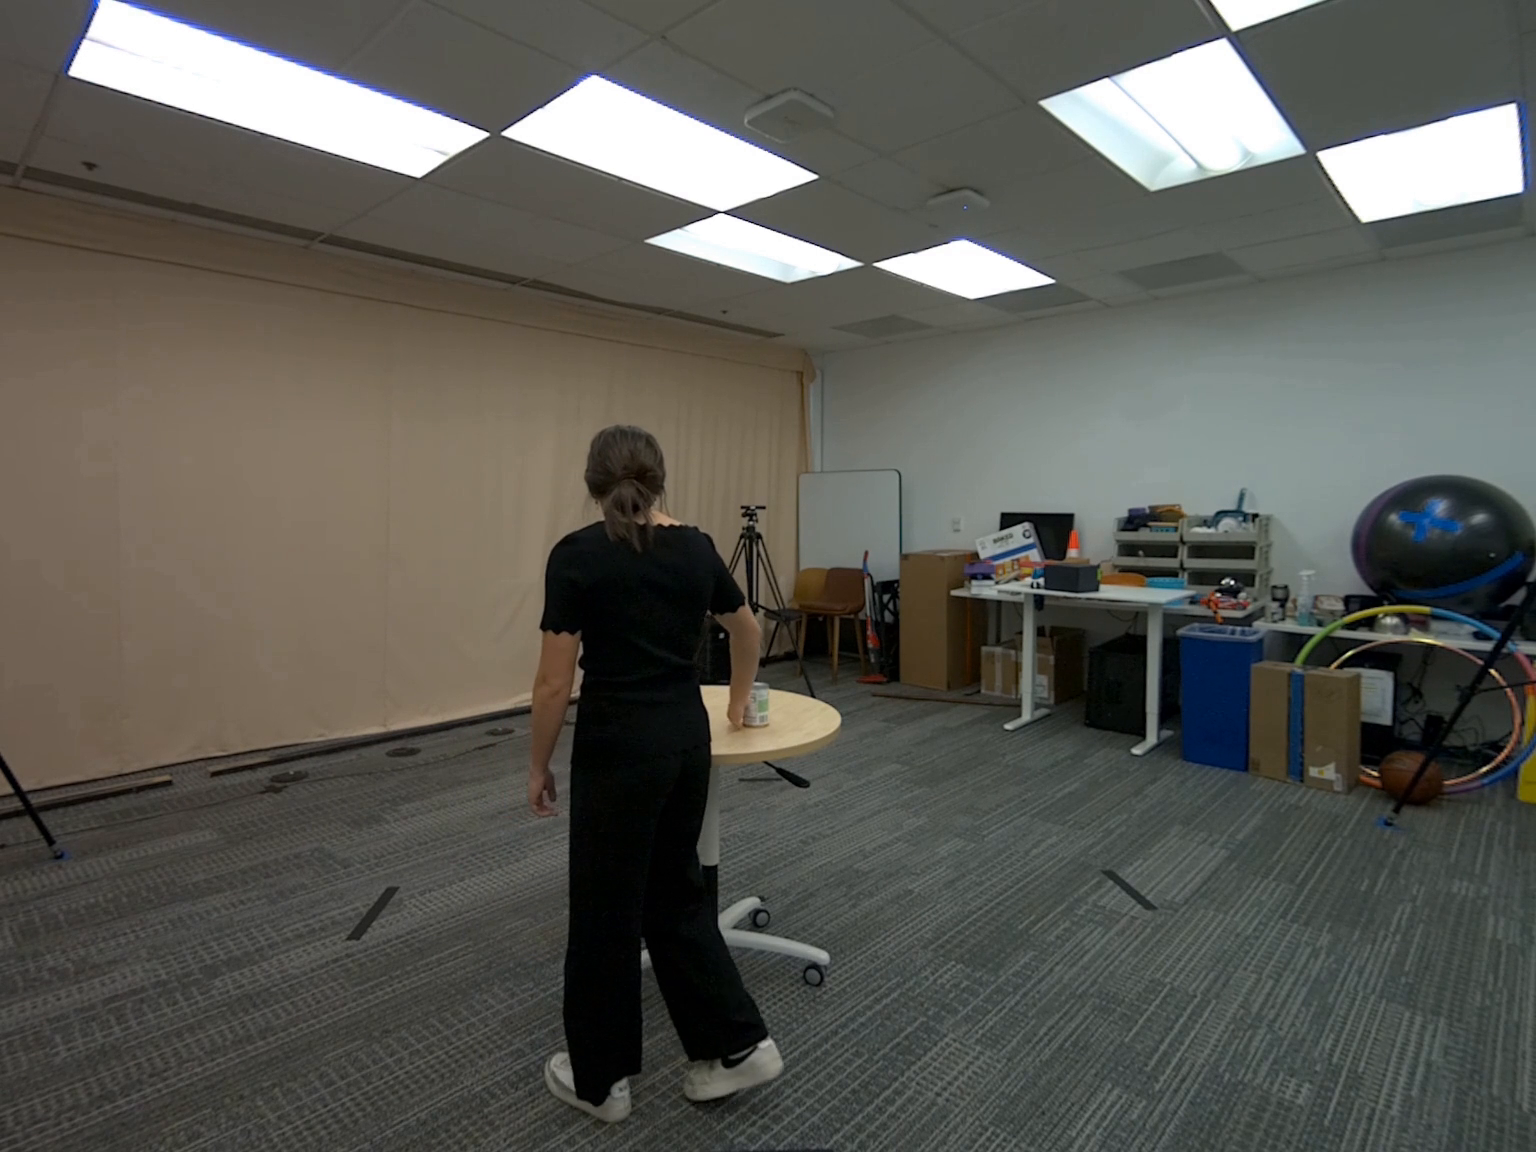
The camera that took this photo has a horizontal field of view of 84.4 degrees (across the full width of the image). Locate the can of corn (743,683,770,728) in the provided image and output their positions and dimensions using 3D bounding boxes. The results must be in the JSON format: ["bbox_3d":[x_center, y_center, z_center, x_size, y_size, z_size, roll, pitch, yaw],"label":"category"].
[{"bbox_3d":[-0.030,0.365,2.328,0.074,0.110,0.074,-2,7,-2],"label":"can of corn"}]
